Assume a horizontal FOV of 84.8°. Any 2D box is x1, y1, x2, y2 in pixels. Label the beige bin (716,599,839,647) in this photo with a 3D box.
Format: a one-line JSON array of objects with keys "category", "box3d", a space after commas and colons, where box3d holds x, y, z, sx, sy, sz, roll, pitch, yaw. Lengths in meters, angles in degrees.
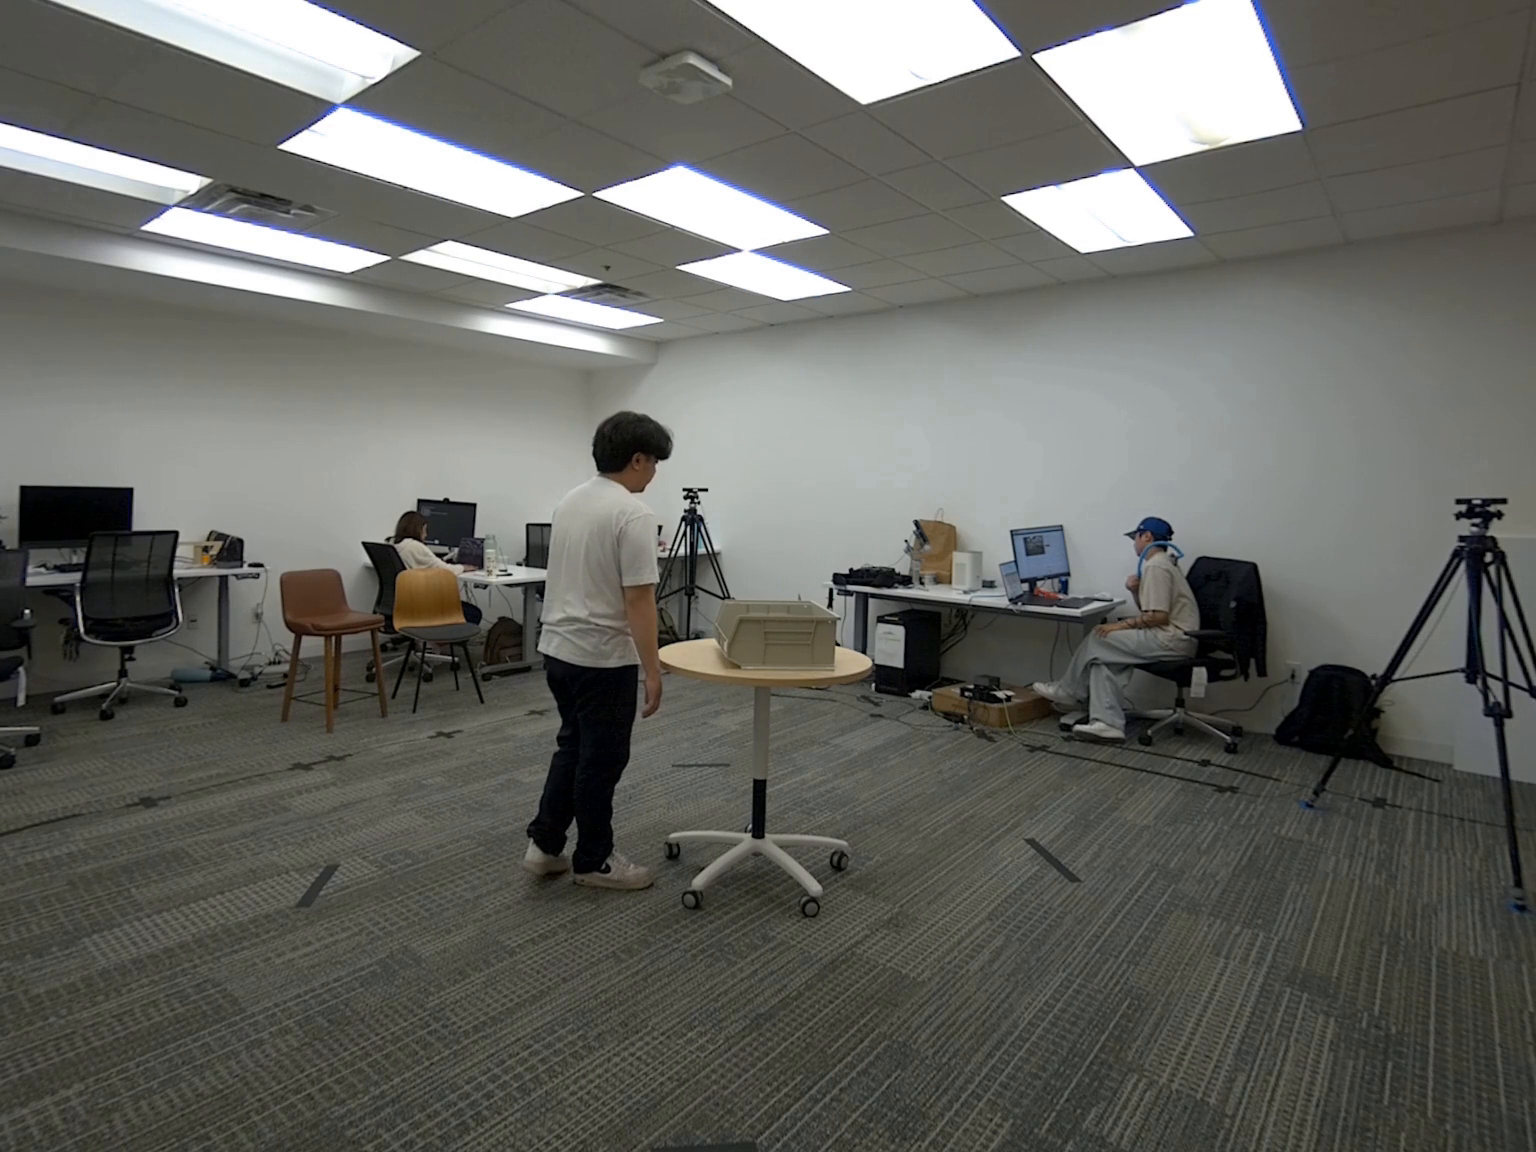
[{"category": "beige bin", "box3d": [-0.002, 0.202, 2.988, 0.375, 0.188, 0.427, 4, 4, -7]}]
